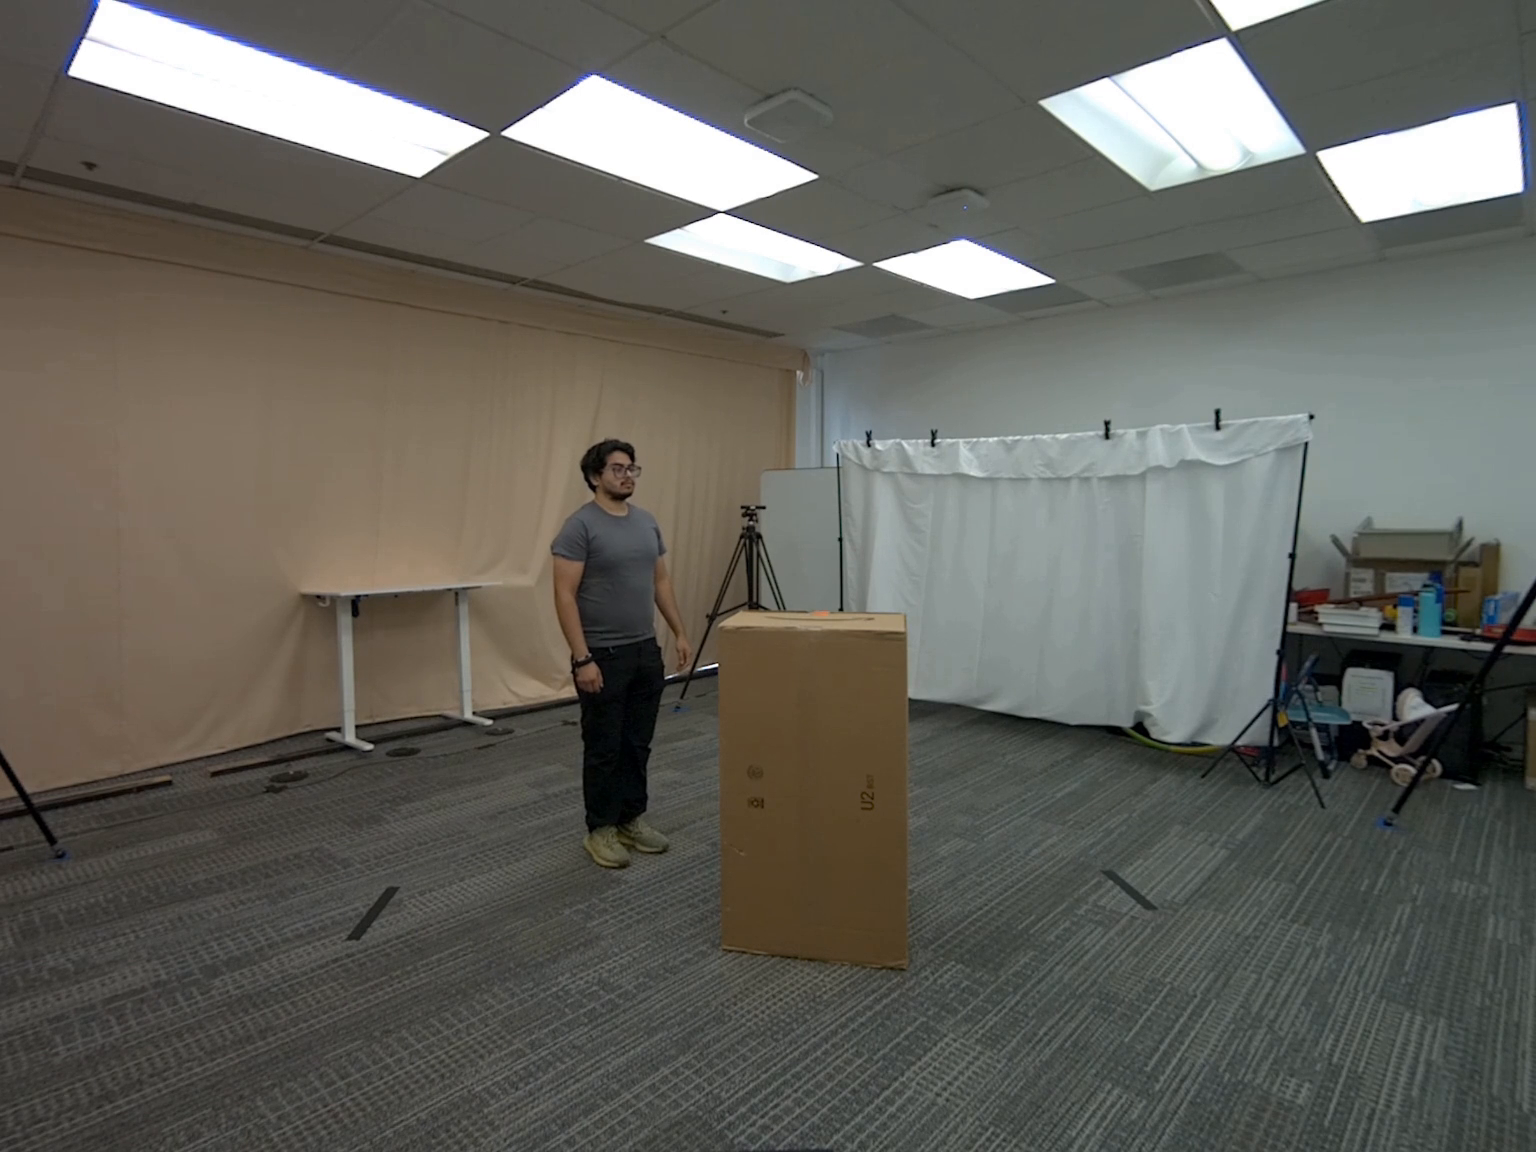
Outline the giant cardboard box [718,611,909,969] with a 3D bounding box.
[{"bbox_3d":[0.166,0.650,2.765,0.585,1.024,0.421,0,3,11],"label":"giant cardboard box"}]
